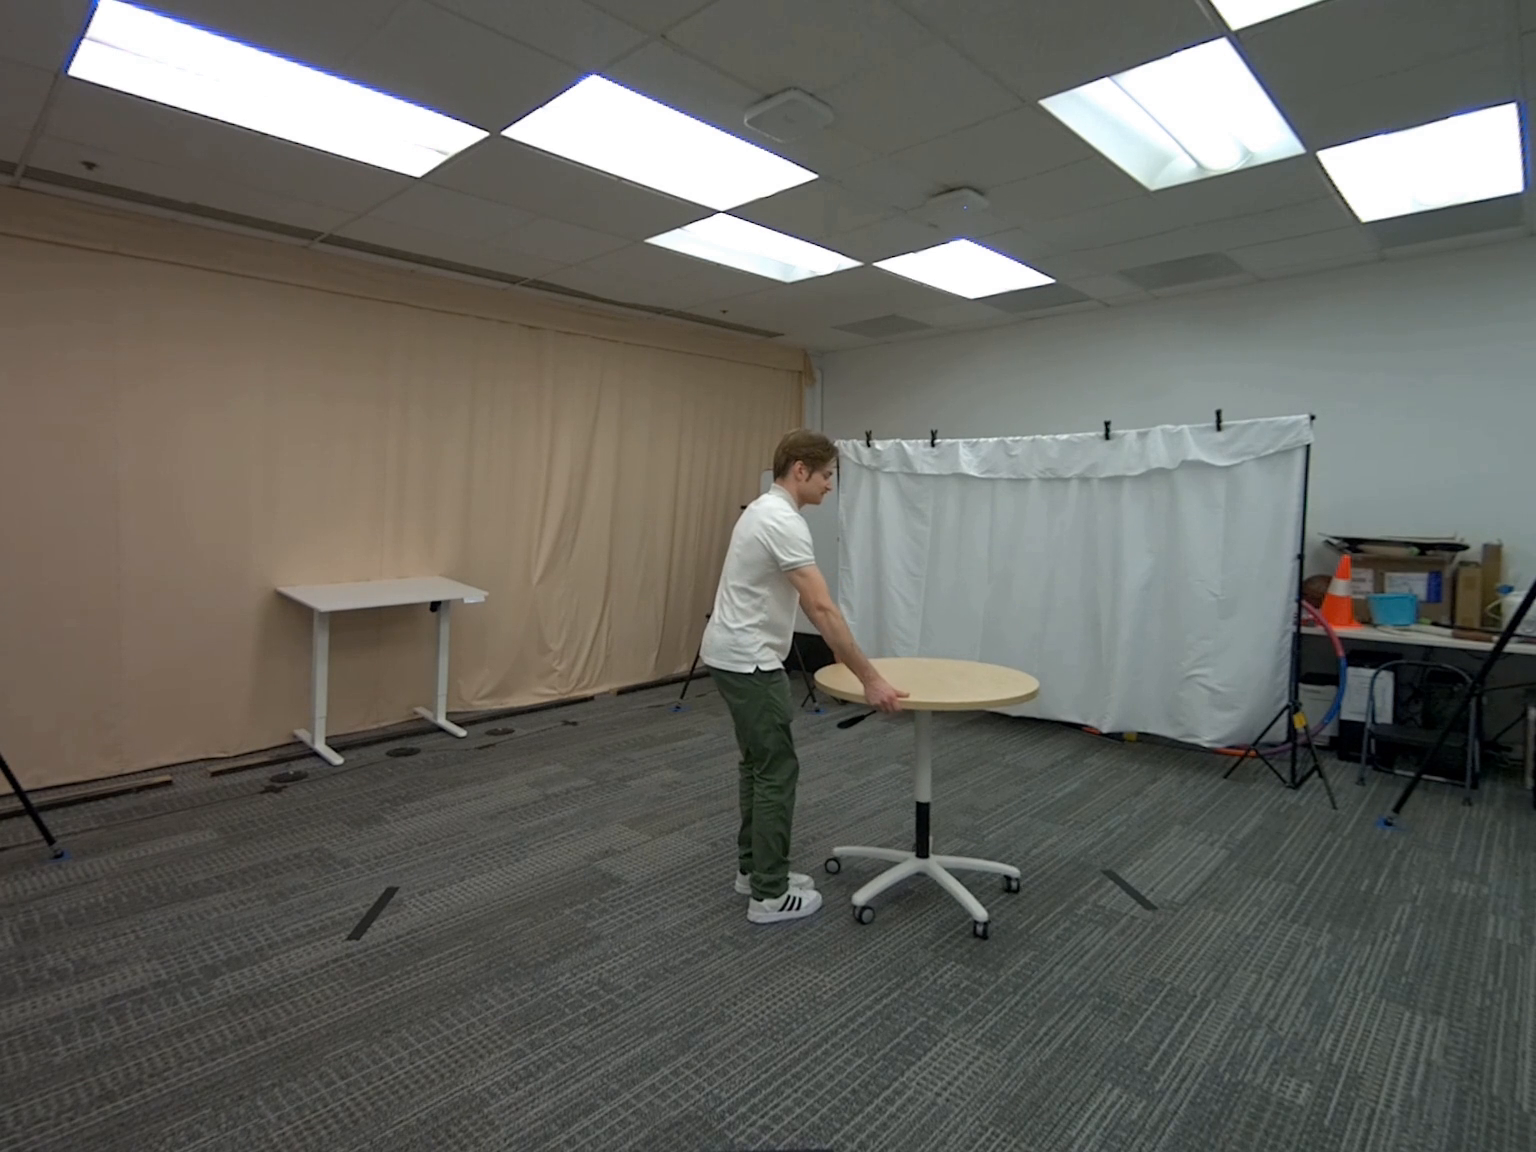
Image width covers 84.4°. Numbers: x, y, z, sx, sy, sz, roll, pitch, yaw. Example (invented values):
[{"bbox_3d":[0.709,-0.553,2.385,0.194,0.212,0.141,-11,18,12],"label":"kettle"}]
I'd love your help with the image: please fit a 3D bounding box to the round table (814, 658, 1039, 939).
[{"bbox_3d":[0.553,0.753,2.985,0.763,0.792,0.766,0,3,-2],"label":"round table"}]
